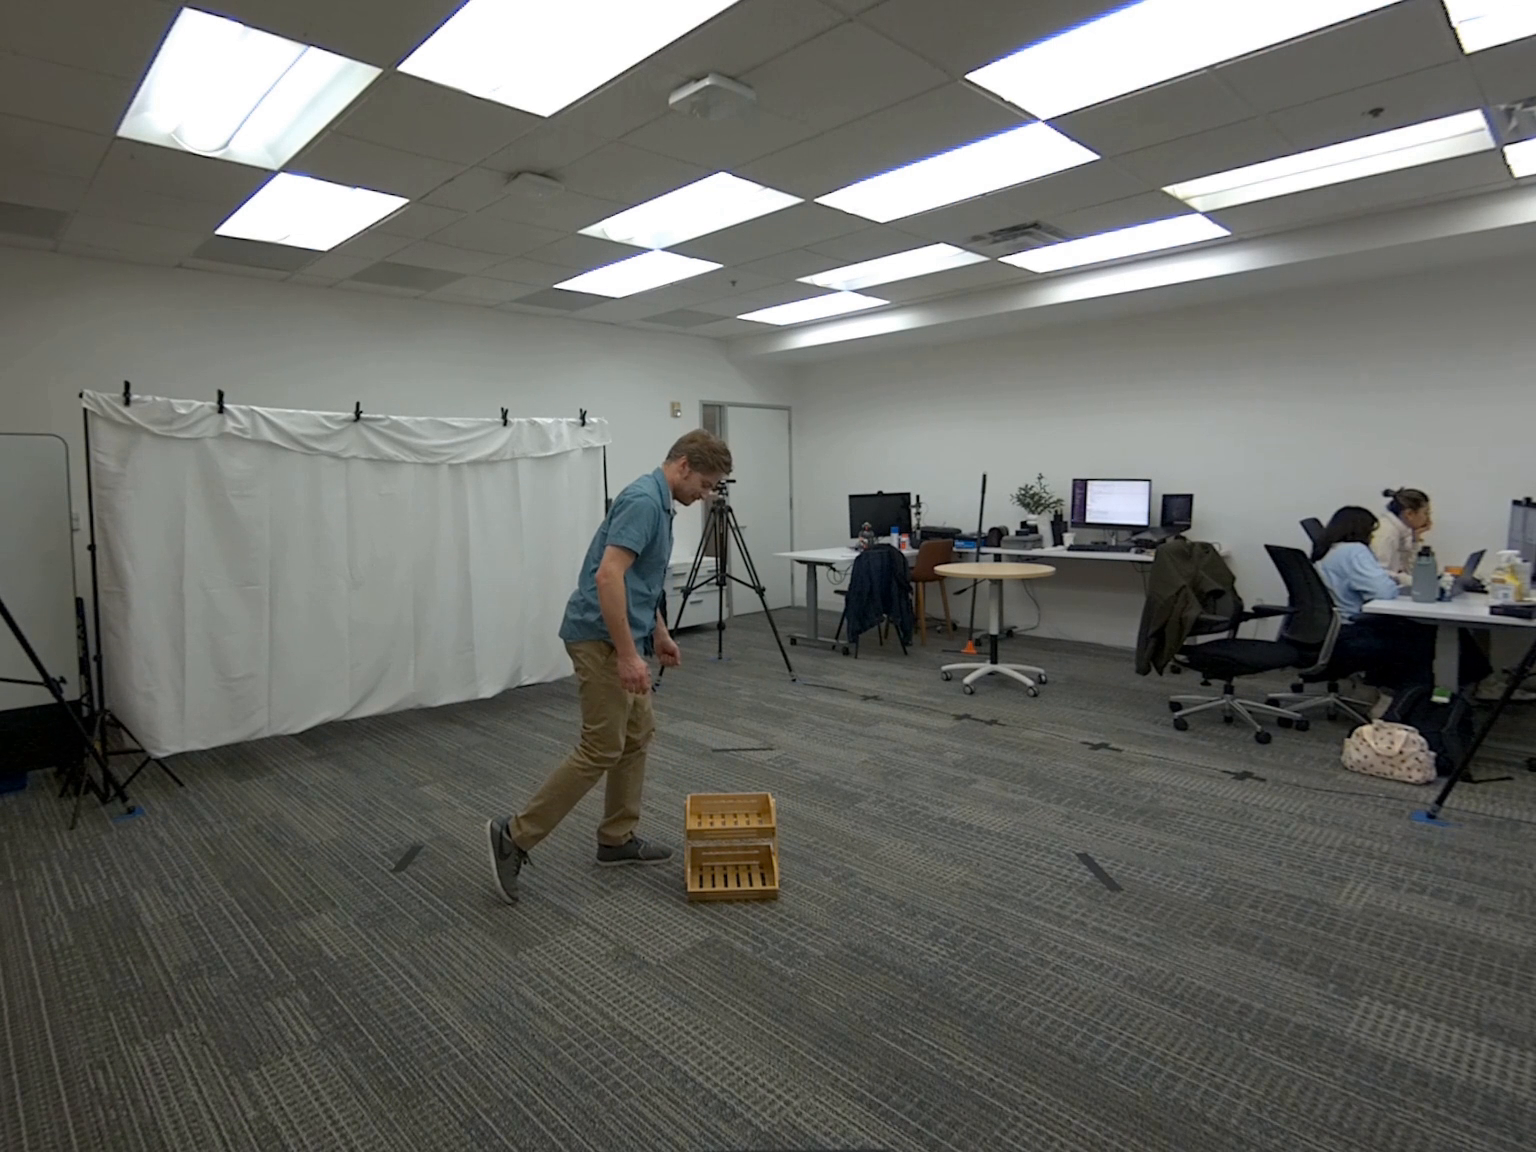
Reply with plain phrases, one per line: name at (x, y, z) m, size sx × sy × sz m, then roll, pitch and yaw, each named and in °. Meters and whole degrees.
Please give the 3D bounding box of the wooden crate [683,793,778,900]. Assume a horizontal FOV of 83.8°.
wooden crate at (-0.123, 0.935, 2.962) m, size 0.323 × 0.272 × 0.305 m, roll 0°, pitch 6°, yaw -5°
